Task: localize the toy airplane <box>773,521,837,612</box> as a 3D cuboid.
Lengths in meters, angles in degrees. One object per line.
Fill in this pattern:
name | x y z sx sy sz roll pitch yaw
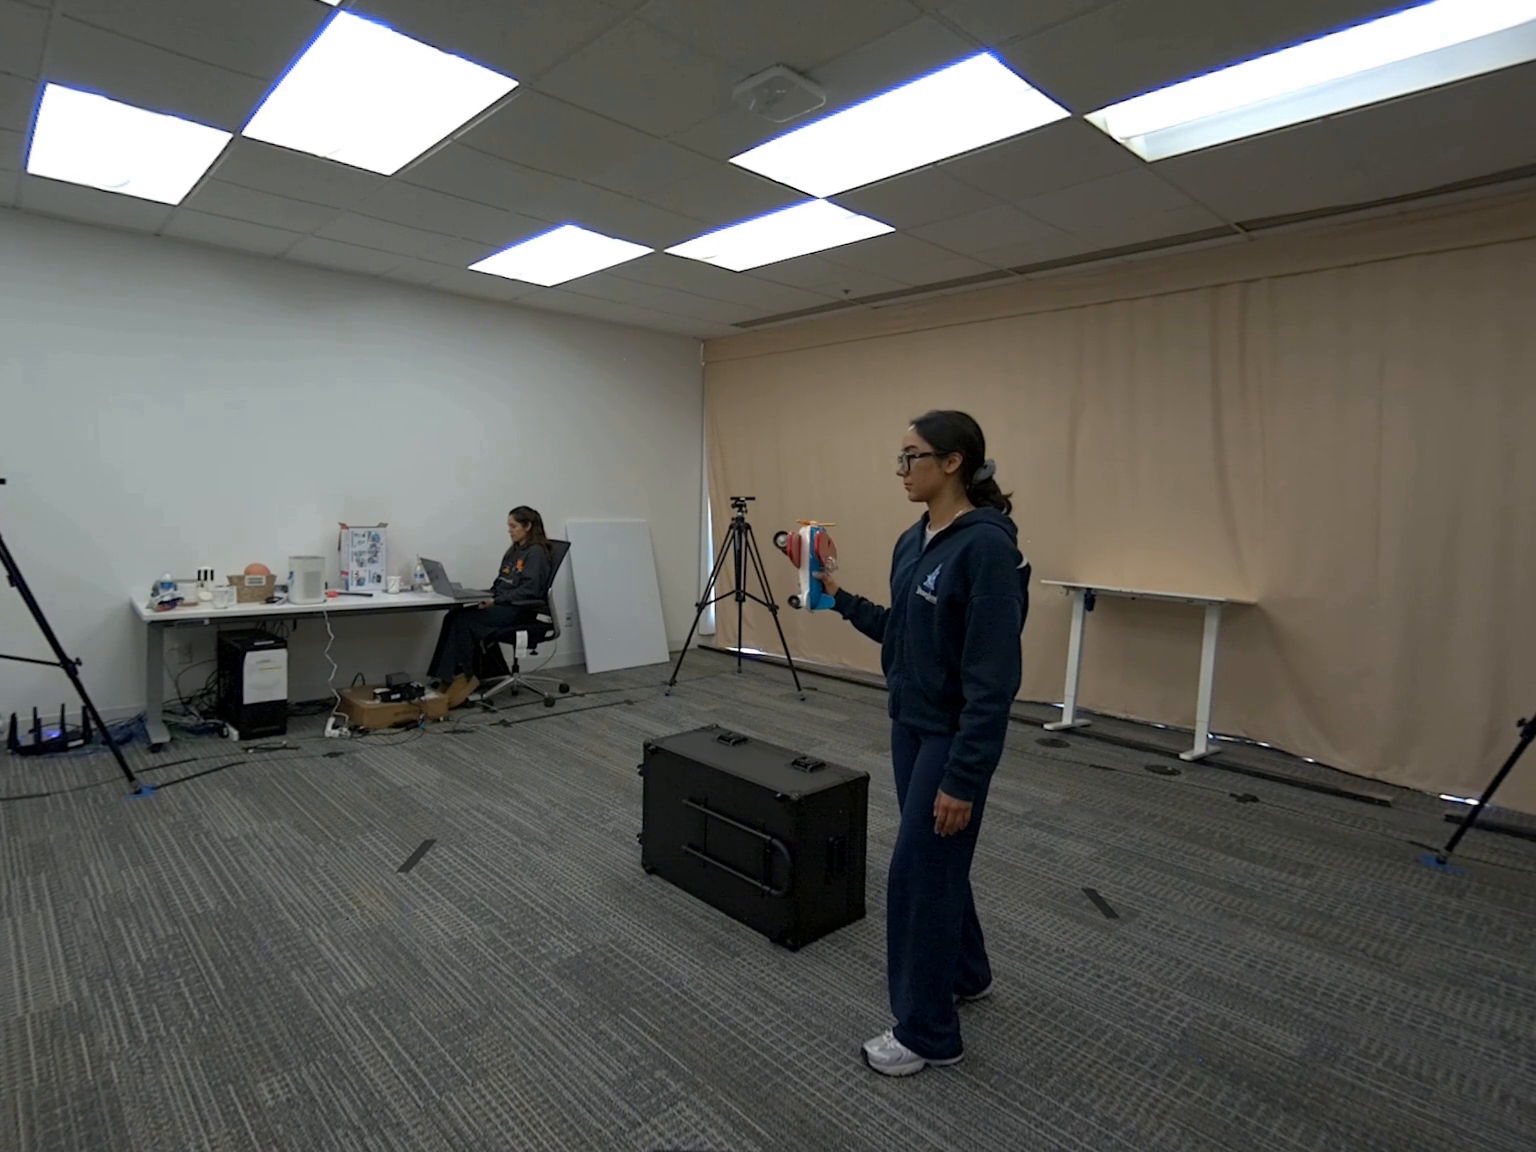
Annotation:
toy airplane | 0.117 -0.020 2.454 0.158 0.256 0.252 -14 13 14
